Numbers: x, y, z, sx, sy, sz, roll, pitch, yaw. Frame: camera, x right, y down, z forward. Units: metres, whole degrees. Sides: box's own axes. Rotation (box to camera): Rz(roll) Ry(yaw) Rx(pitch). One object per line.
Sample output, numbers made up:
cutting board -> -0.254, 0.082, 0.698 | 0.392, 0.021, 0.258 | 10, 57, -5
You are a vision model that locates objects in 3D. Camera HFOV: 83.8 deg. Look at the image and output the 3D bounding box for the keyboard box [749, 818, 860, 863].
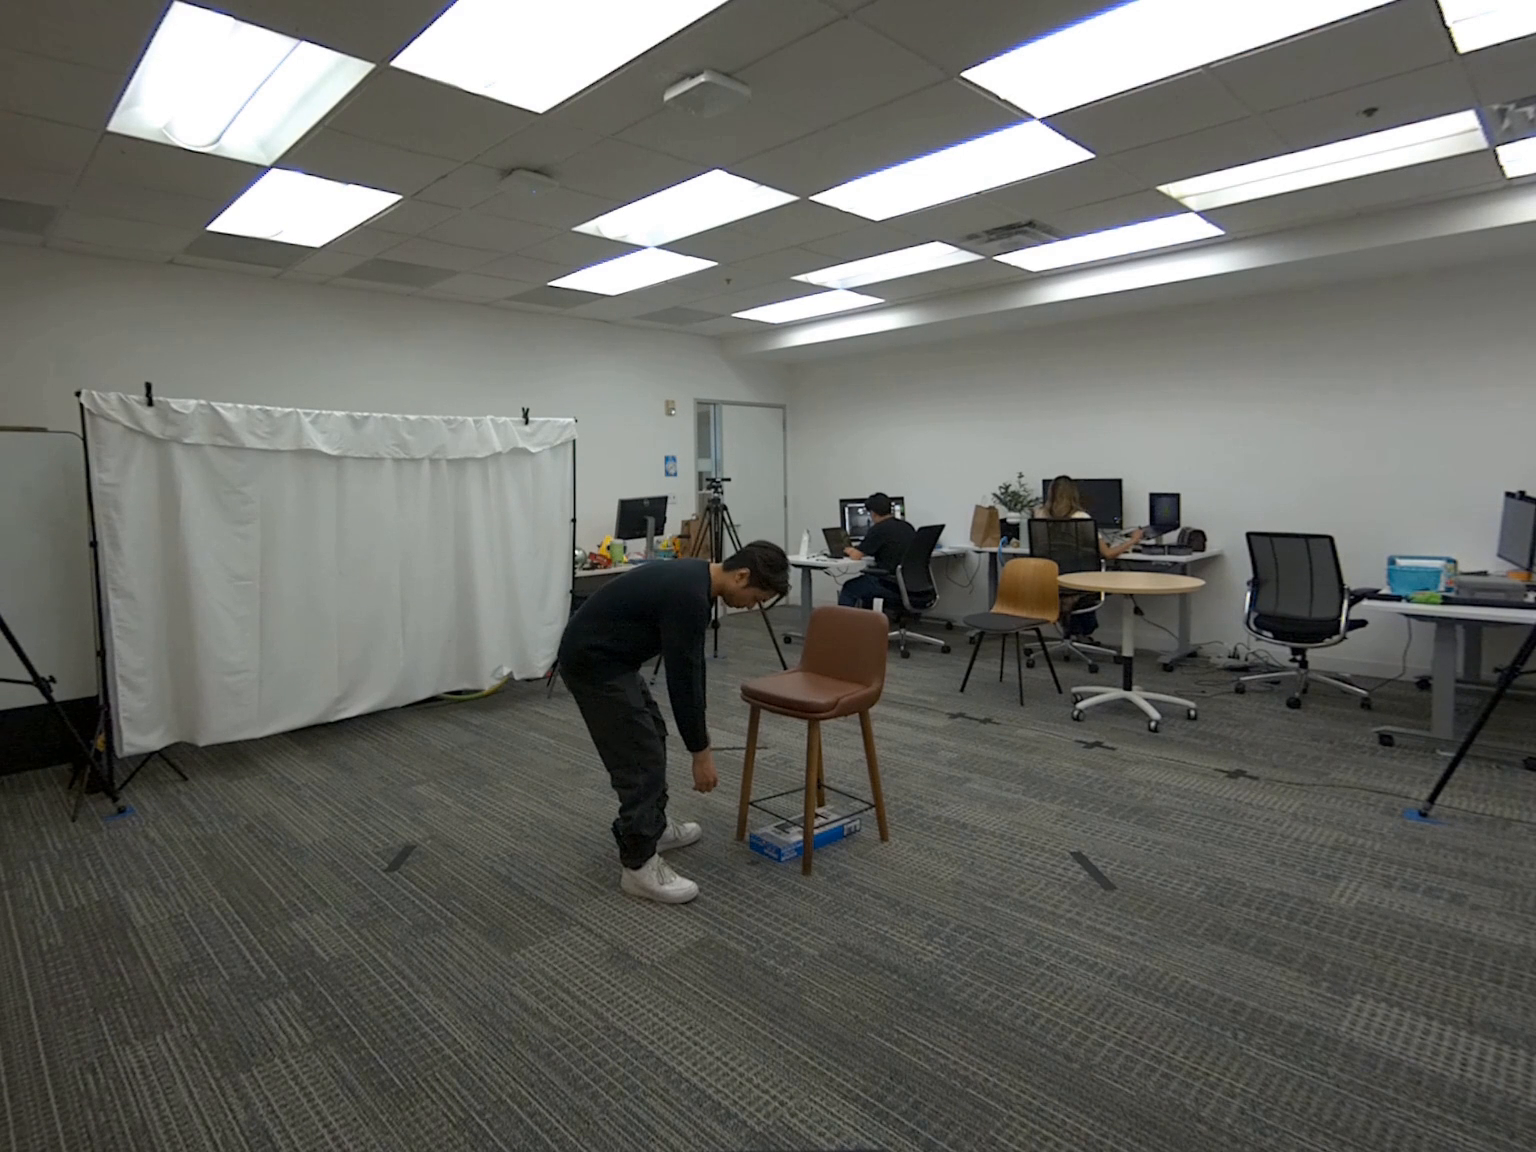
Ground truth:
keyboard box -> 0.156, 0.995, 3.296 | 0.426, 0.059, 0.182 | -7, 11, -39
